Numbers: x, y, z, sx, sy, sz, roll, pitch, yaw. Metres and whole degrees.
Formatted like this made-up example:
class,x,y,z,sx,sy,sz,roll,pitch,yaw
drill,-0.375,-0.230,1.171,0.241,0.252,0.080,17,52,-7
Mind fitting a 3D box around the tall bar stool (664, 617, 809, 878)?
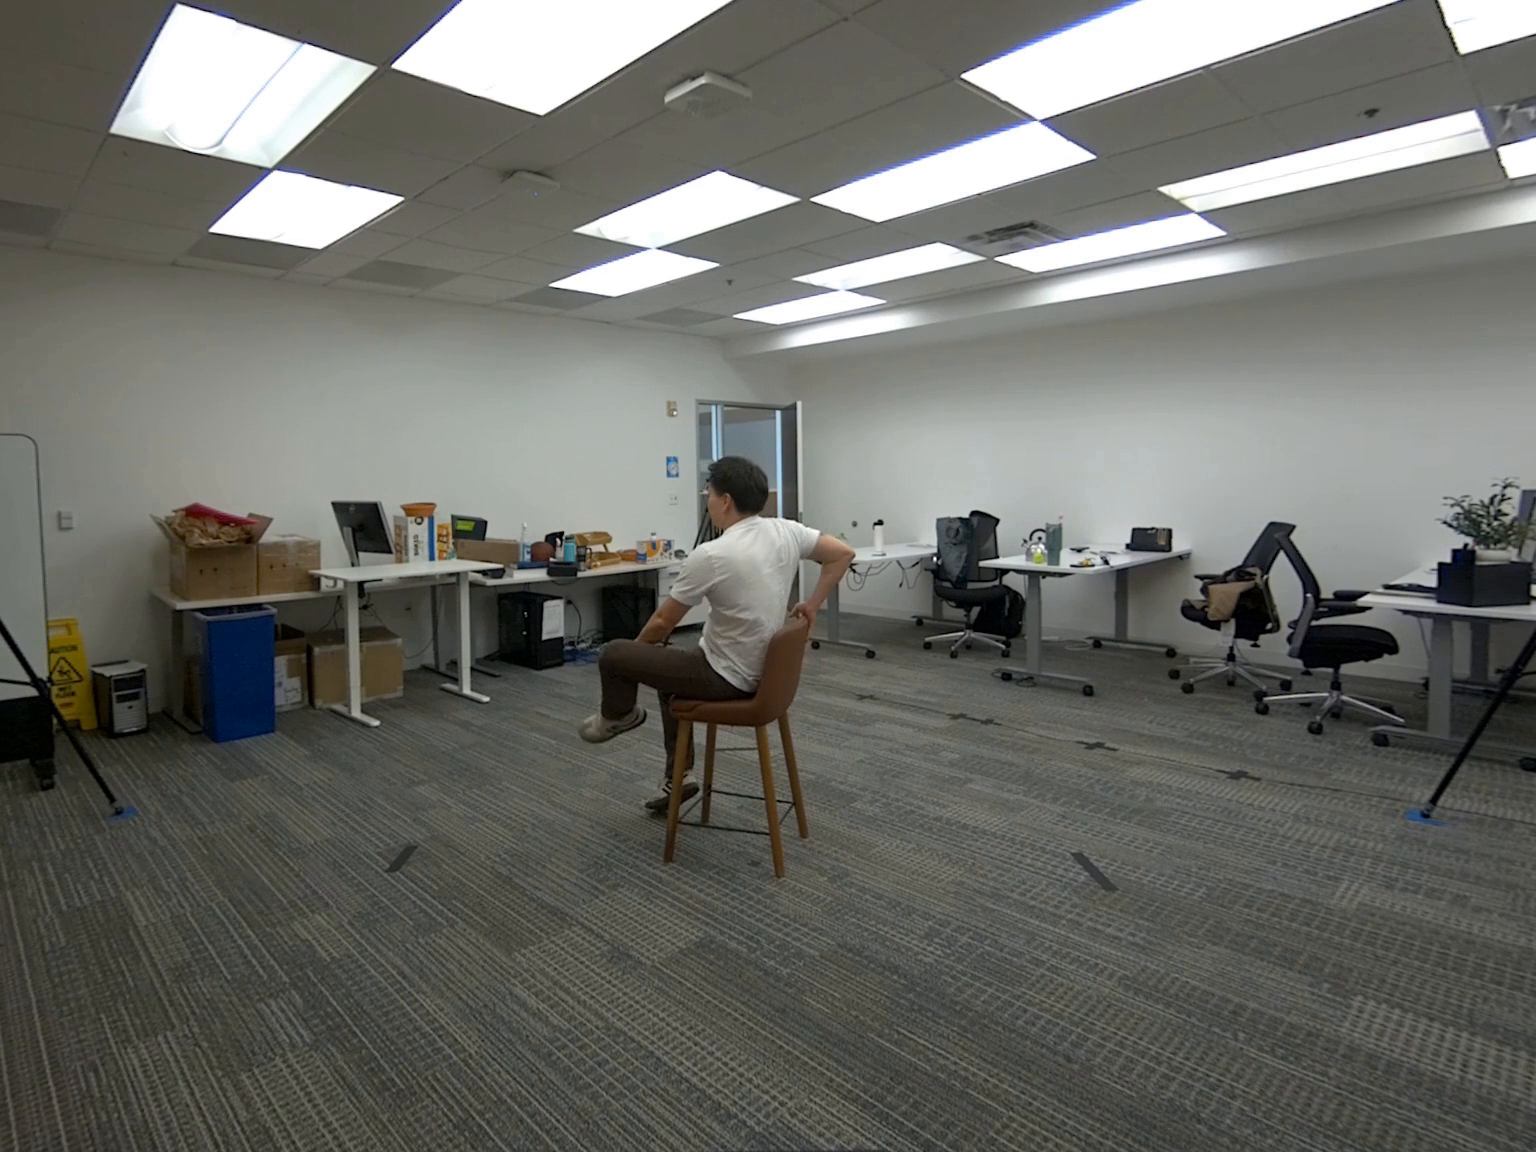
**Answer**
class,x,y,z,sx,sy,sz,roll,pitch,yaw
tall bar stool,-0.104,0.600,3.208,0.477,0.886,0.450,3,5,19
